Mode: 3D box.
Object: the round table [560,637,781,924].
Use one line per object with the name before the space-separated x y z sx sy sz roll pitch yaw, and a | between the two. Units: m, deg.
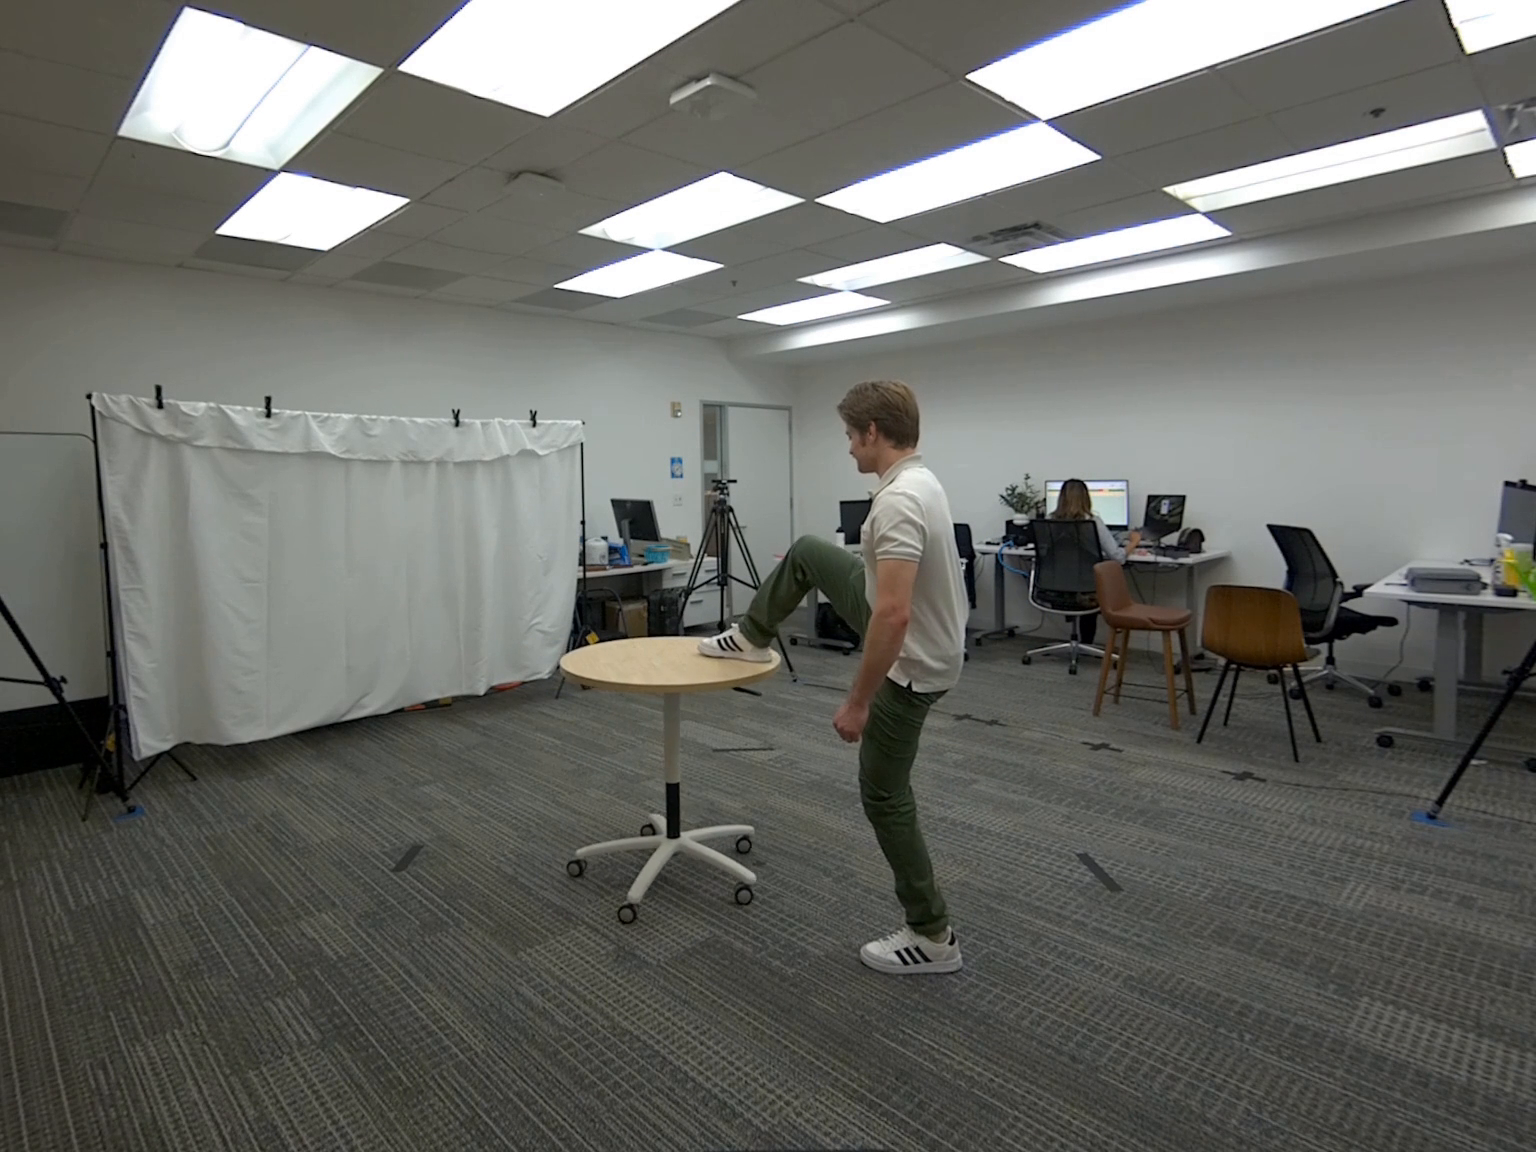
round table | -0.345 0.675 3.016 0.763 0.791 0.768 -1 5 -2
